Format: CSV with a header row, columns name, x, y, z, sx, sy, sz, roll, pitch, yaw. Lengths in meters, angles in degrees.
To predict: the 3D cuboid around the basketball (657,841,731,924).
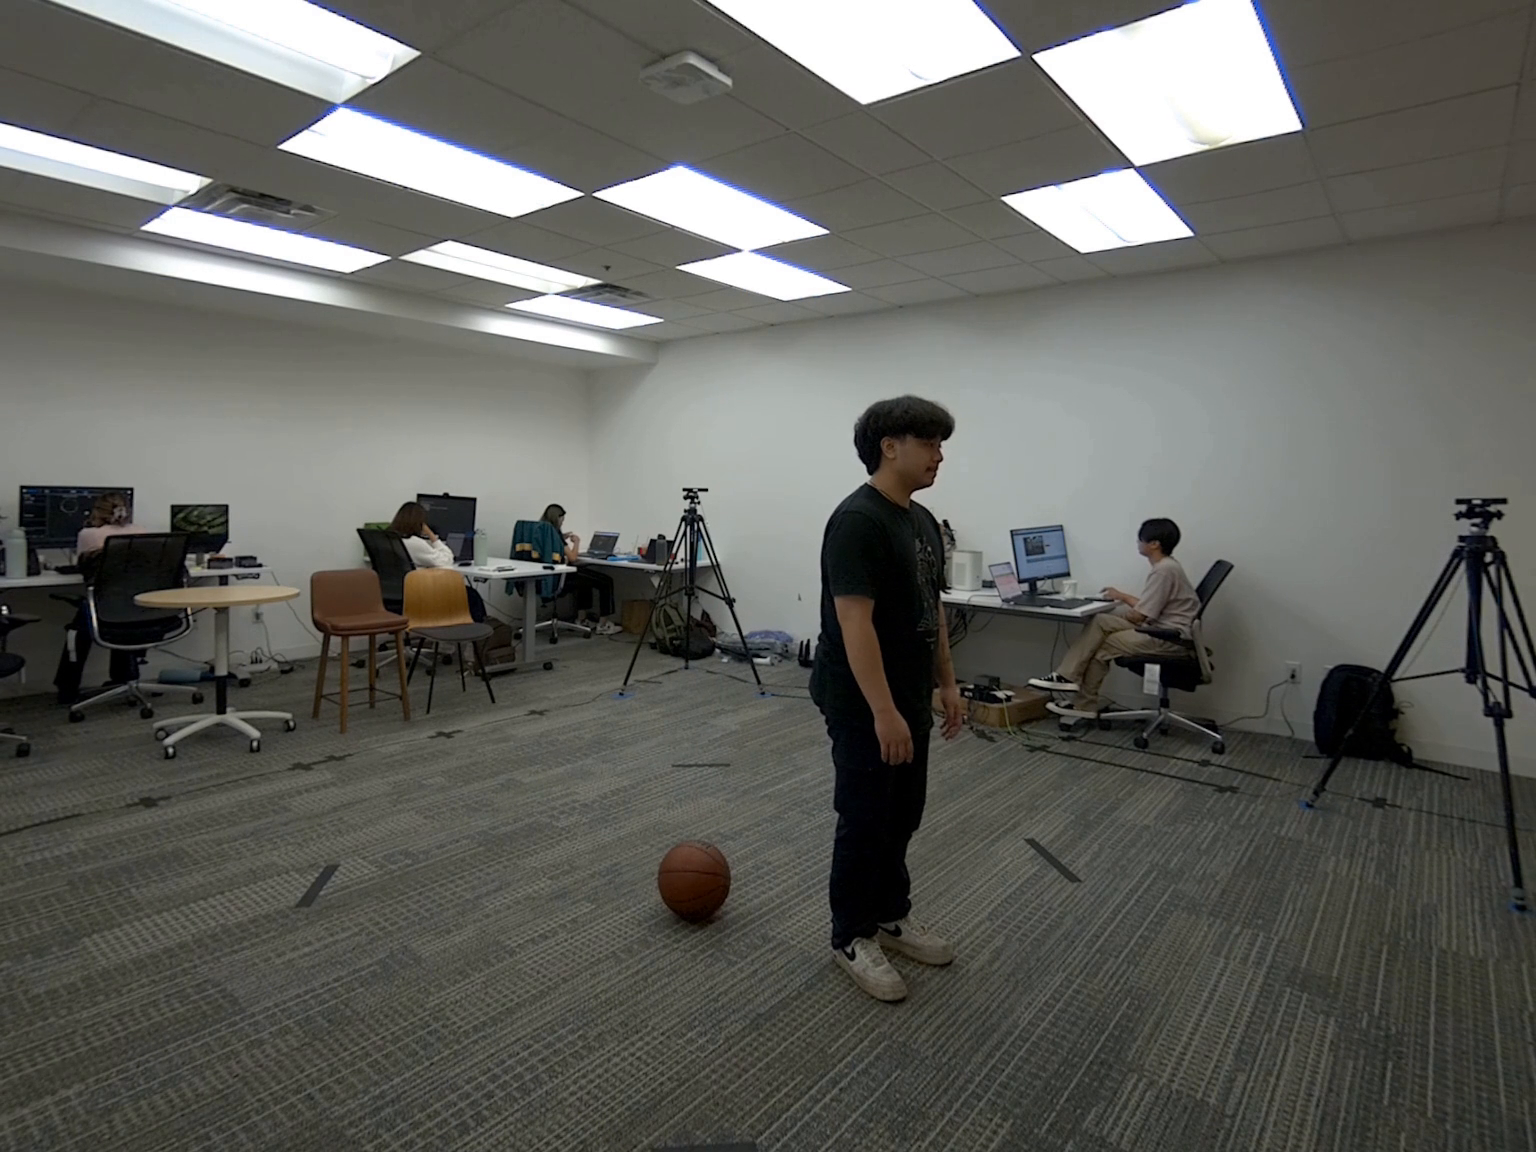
name,x,y,z,sx,sy,sz,roll,pitch,yaw
basketball,-0.250,0.981,2.767,0.235,0.235,0.237,1,4,-2
